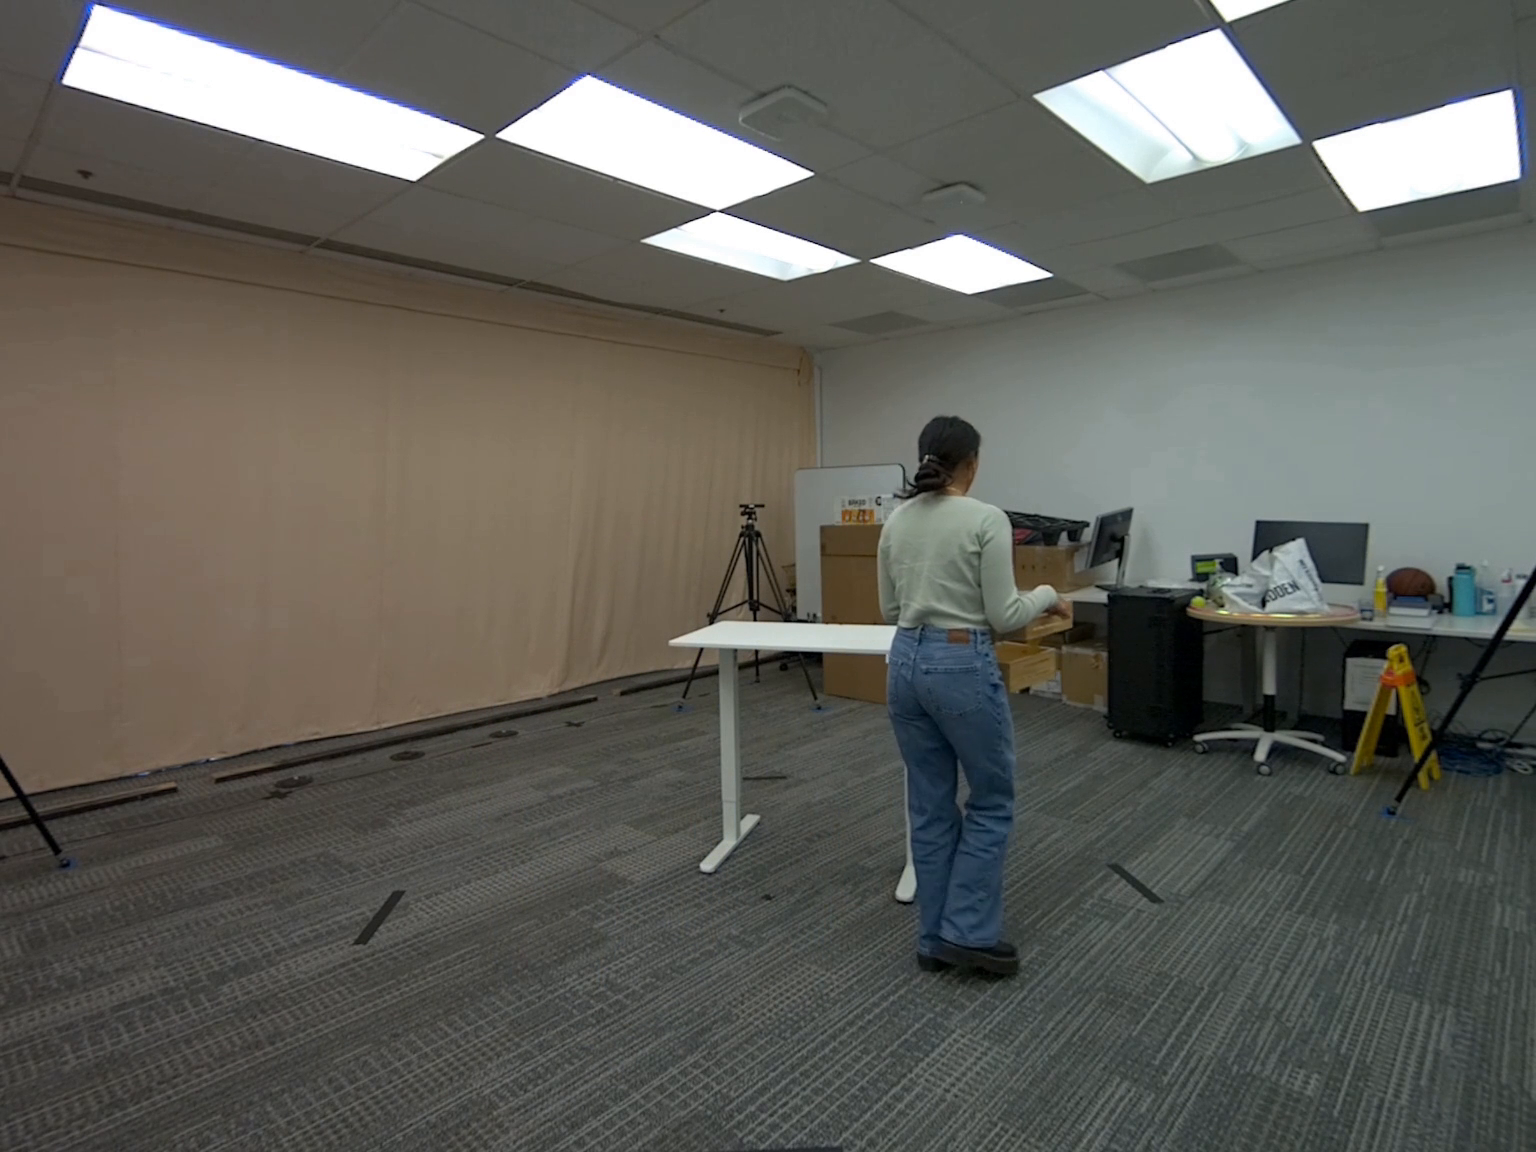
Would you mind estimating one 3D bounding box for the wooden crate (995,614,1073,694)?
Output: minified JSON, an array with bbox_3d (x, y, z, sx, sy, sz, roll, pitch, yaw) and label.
[{"bbox_3d":[0.777,0.206,2.710,0.315,0.272,0.312,-6,7,-43],"label":"wooden crate"}]
